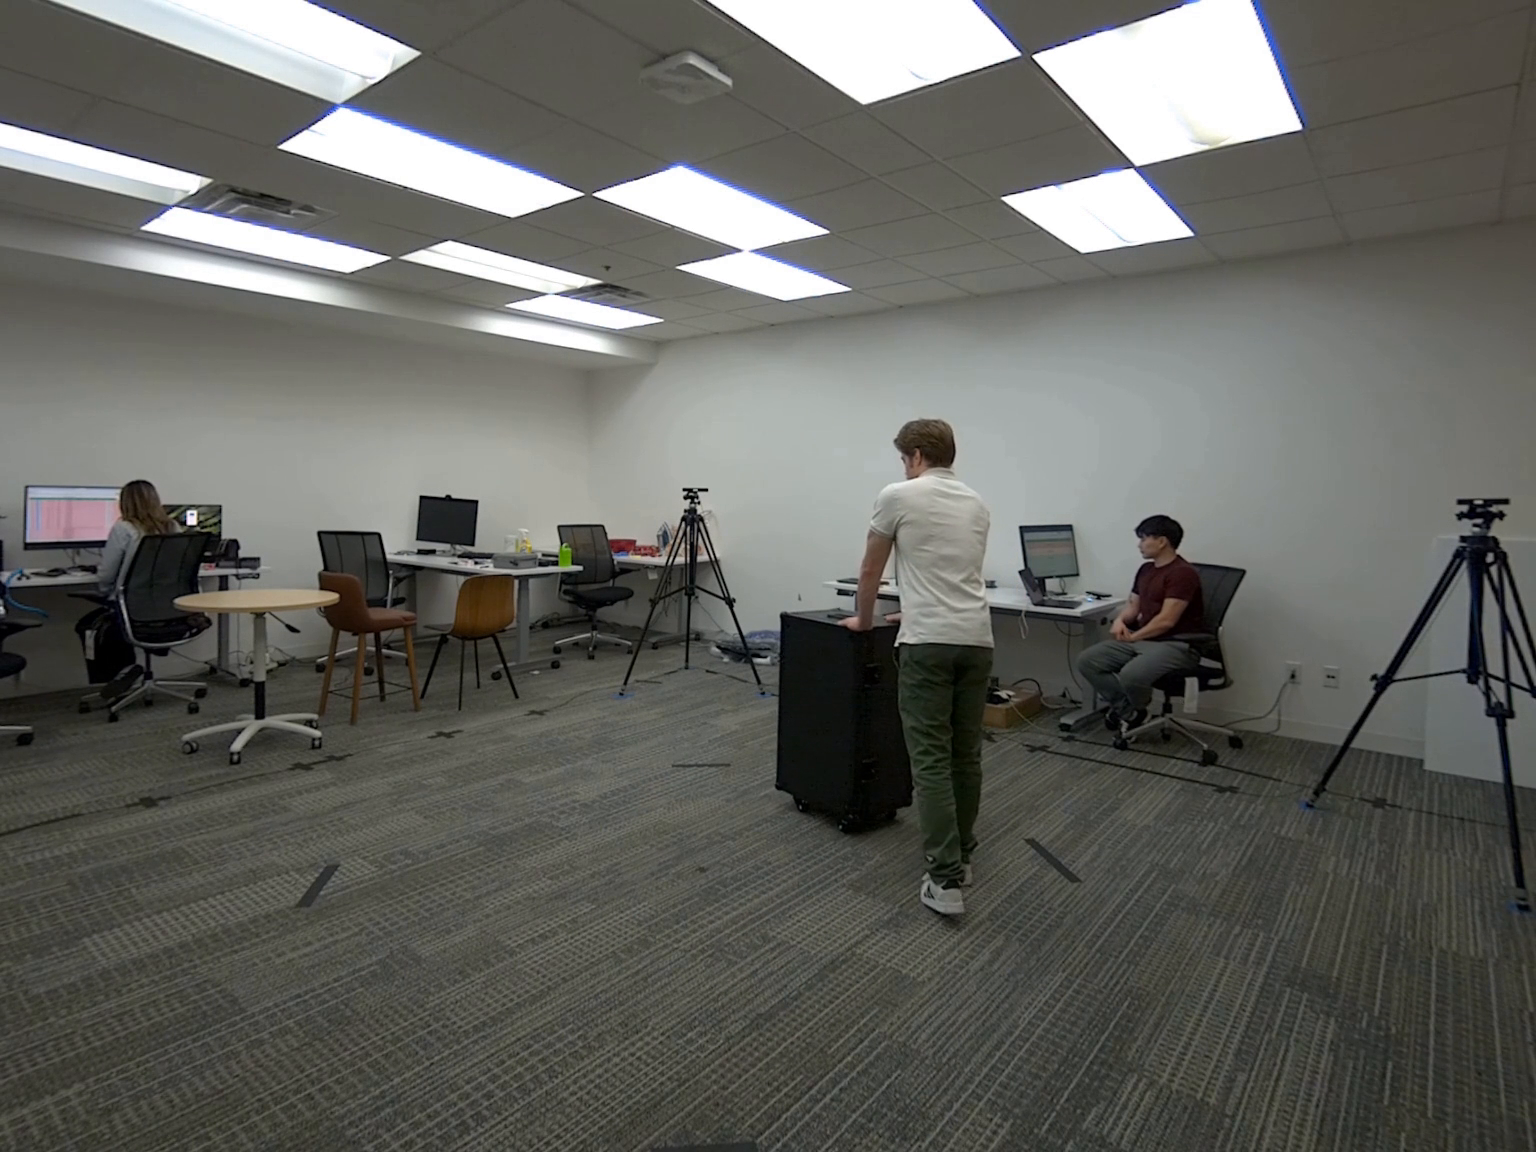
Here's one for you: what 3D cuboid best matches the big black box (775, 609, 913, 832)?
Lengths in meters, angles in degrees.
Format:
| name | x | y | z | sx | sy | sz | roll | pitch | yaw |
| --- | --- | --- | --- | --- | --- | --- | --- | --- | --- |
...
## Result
| name | x | y | z | sx | sy | sz | roll | pitch | yaw |
| --- | --- | --- | --- | --- | --- | --- | --- | --- | --- |
| big black box | 0.316 | 0.603 | 3.679 | 0.373 | 0.866 | 0.541 | -1 | 4 | -39 |
